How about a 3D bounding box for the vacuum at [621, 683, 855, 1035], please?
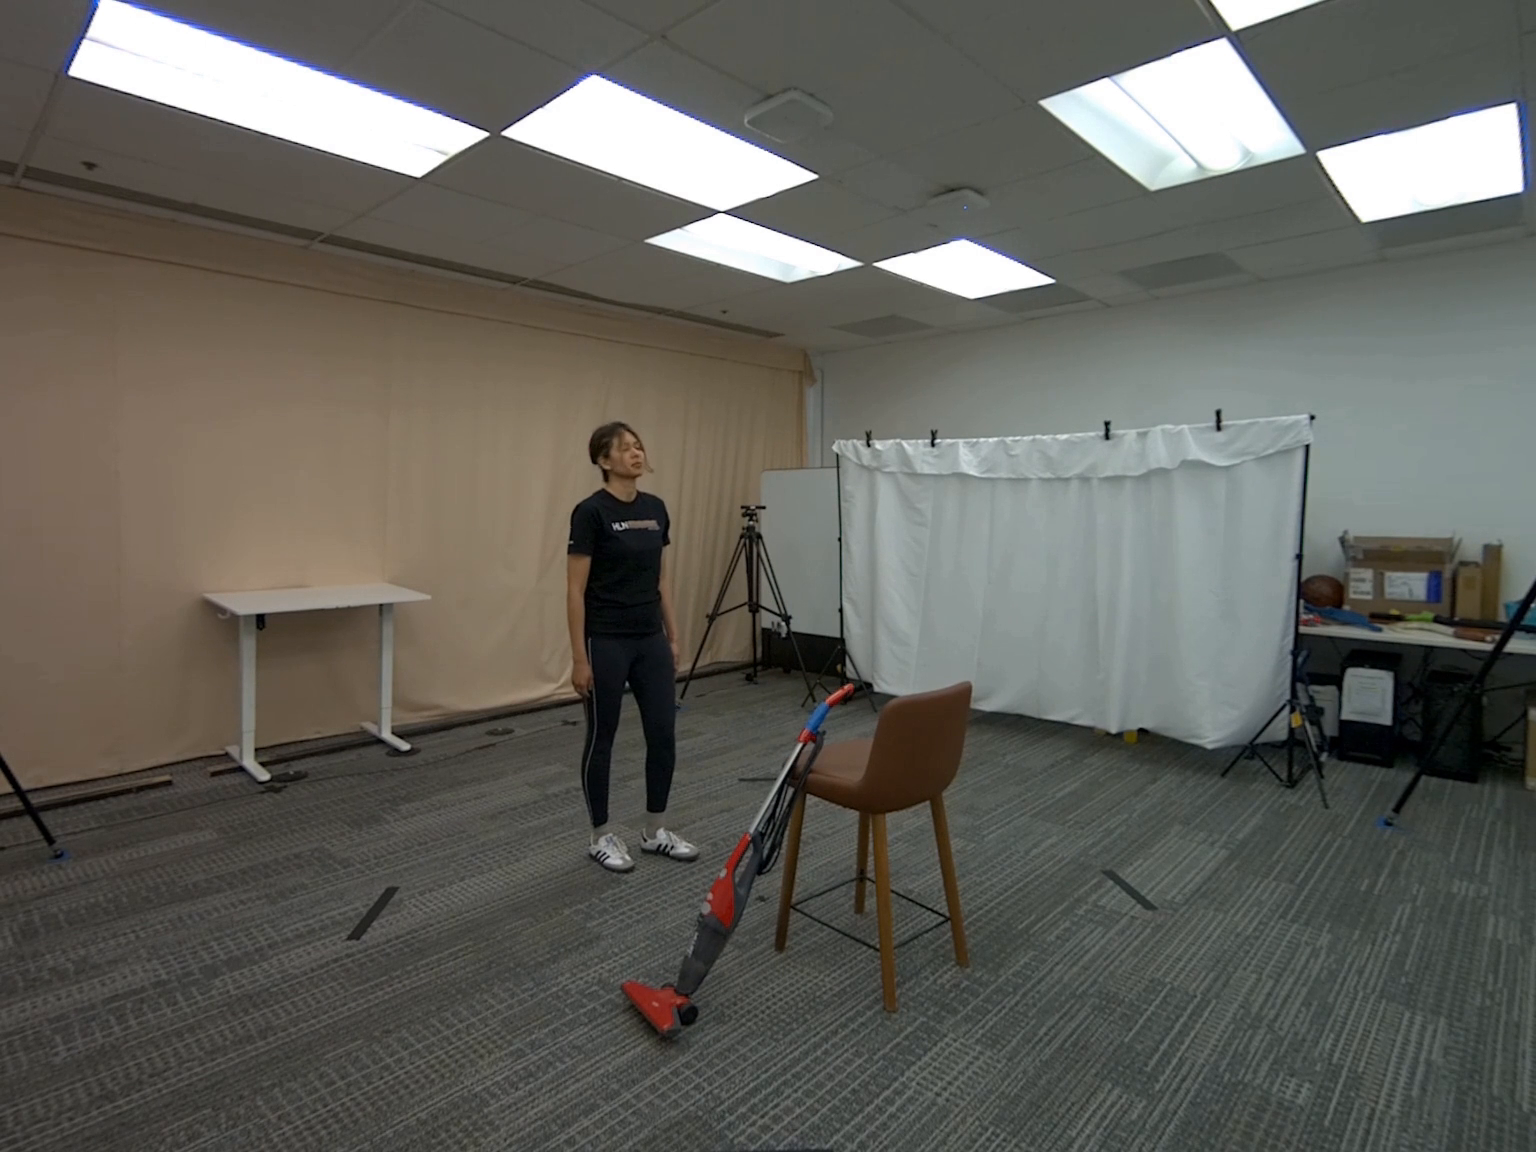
[{"bbox_3d":[-0.028,0.774,2.431,0.261,1.048,0.139,10,-28,50],"label":"vacuum"}]
